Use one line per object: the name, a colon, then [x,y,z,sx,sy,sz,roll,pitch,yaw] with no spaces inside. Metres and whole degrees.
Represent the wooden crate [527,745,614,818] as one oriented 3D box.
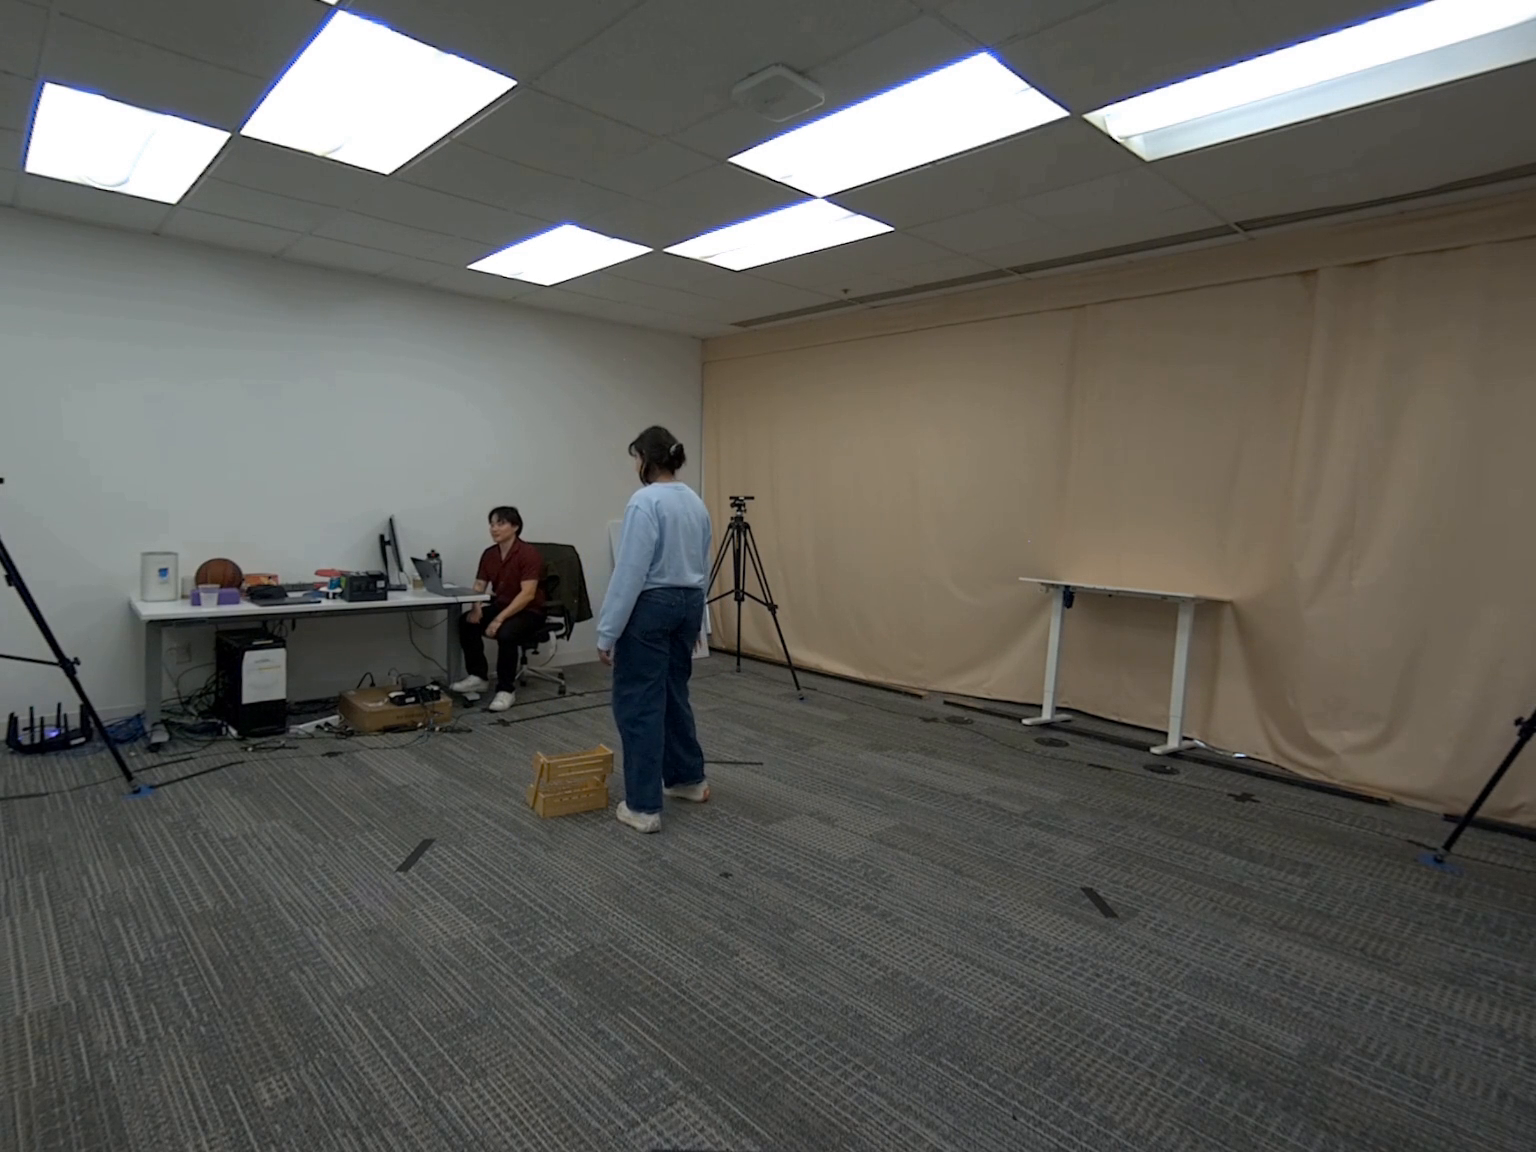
wooden crate: [-0.906,0.899,3.774,0.318,0.272,0.309,-1,5,-32]
